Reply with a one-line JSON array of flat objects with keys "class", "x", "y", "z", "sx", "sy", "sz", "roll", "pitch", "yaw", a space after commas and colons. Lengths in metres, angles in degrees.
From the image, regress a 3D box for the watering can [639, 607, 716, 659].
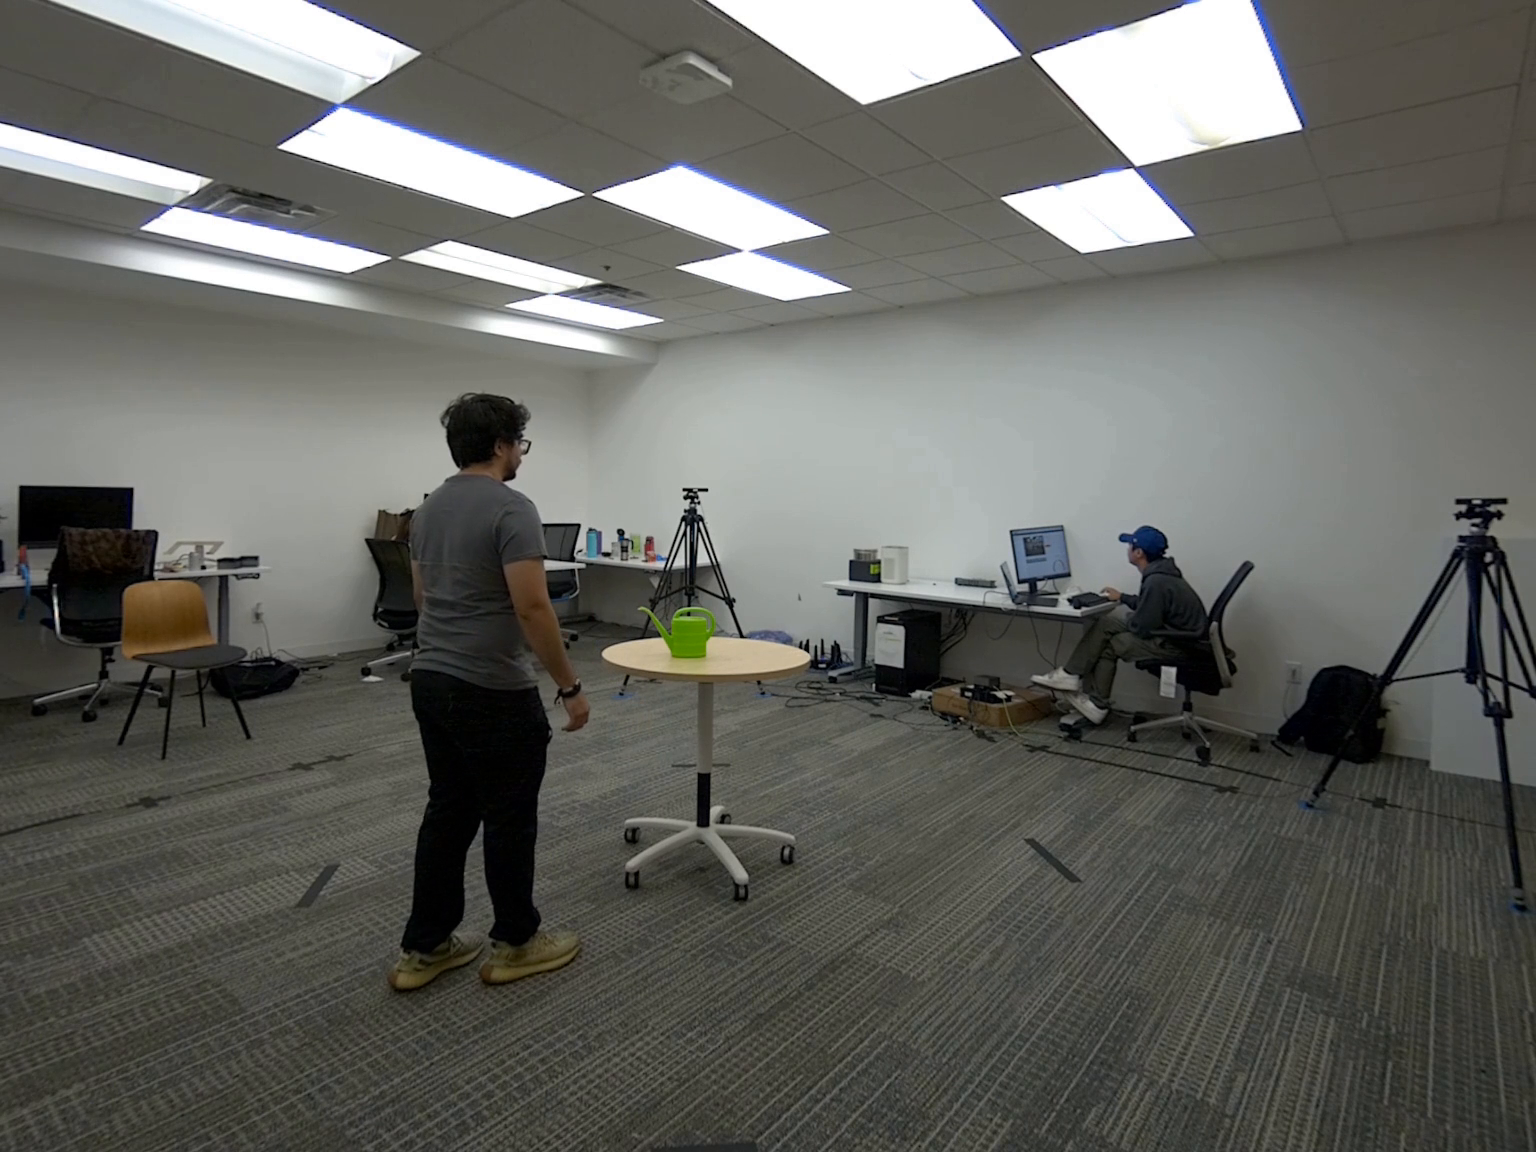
[{"class": "watering can", "x": -0.340, "y": 0.204, "z": 3.081, "sx": 0.278, "sy": 0.177, "sz": 0.098, "roll": 1, "pitch": 1, "yaw": -2}]
